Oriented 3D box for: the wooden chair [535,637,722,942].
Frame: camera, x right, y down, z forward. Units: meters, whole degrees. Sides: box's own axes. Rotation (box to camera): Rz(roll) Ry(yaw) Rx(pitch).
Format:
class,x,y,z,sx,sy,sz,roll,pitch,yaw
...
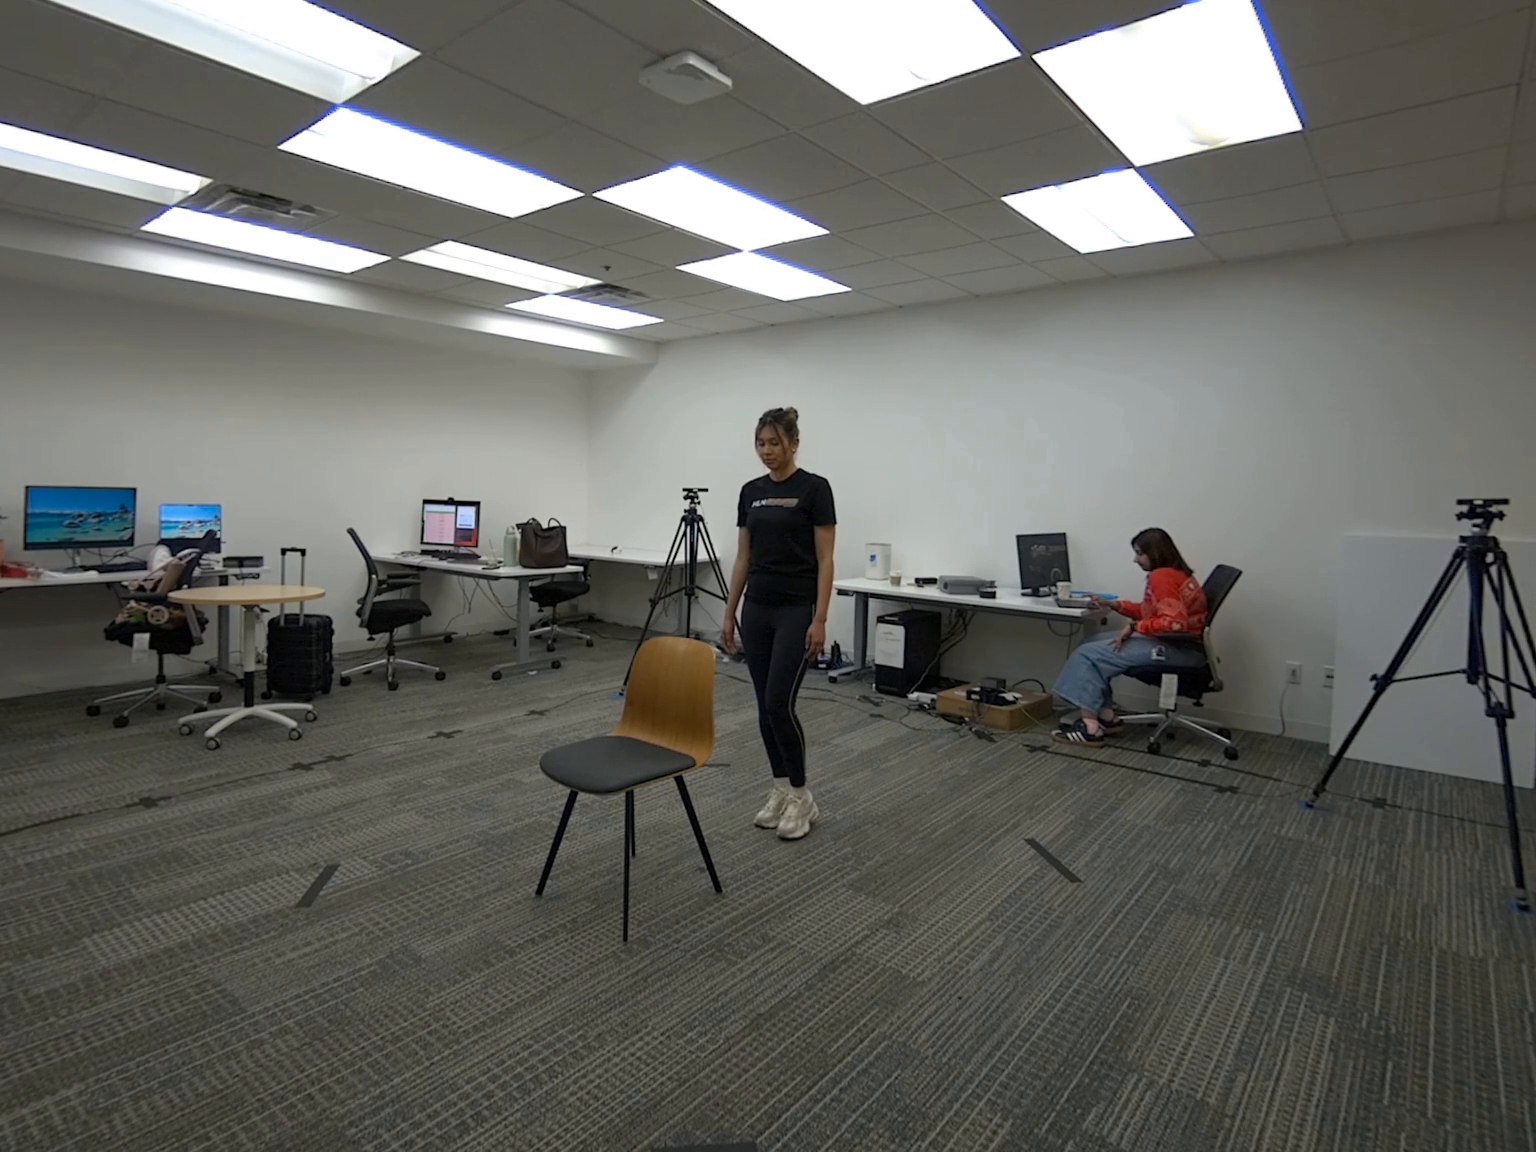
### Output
class,x,y,z,sx,sy,sz,roll,pitch,yaw
wooden chair,-0.478,0.660,2.875,0.494,0.878,0.506,4,0,40
